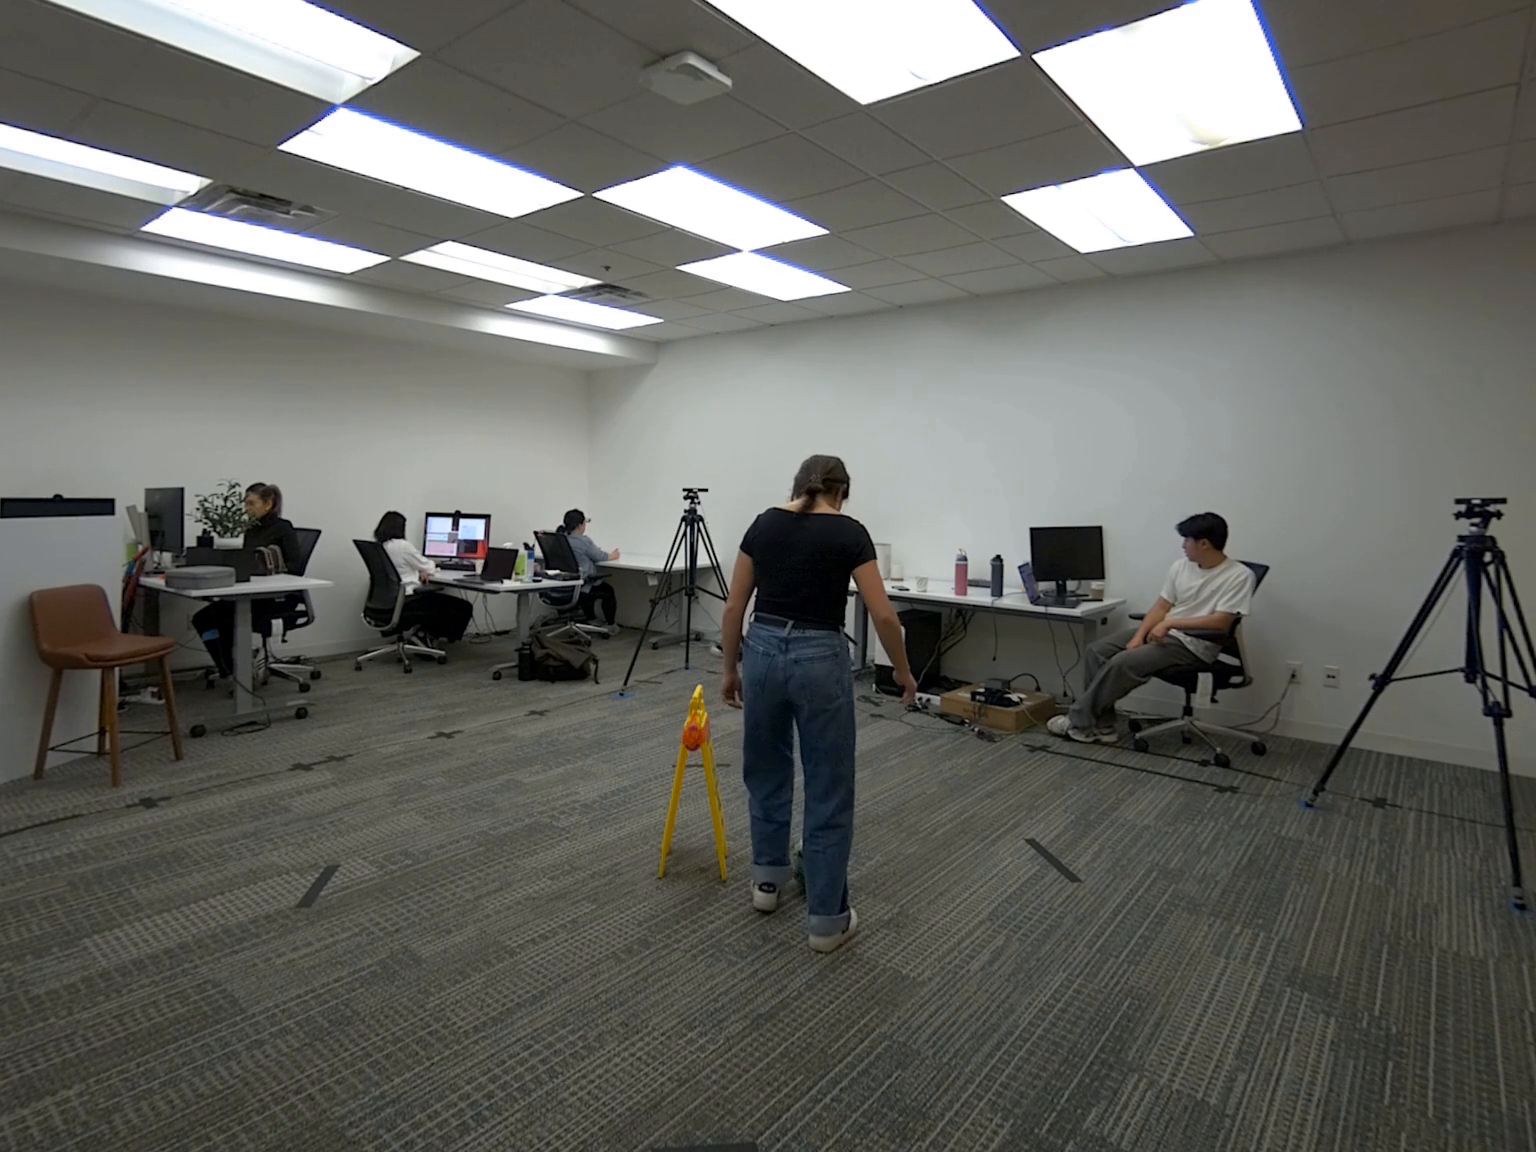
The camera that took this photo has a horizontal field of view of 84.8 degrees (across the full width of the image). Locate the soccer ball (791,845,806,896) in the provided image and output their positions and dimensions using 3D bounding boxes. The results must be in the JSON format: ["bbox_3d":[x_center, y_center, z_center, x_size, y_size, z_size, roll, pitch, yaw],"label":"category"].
[{"bbox_3d":[0.172,0.989,2.975,0.187,0.187,0.188,1,4,-2],"label":"soccer ball"}]
